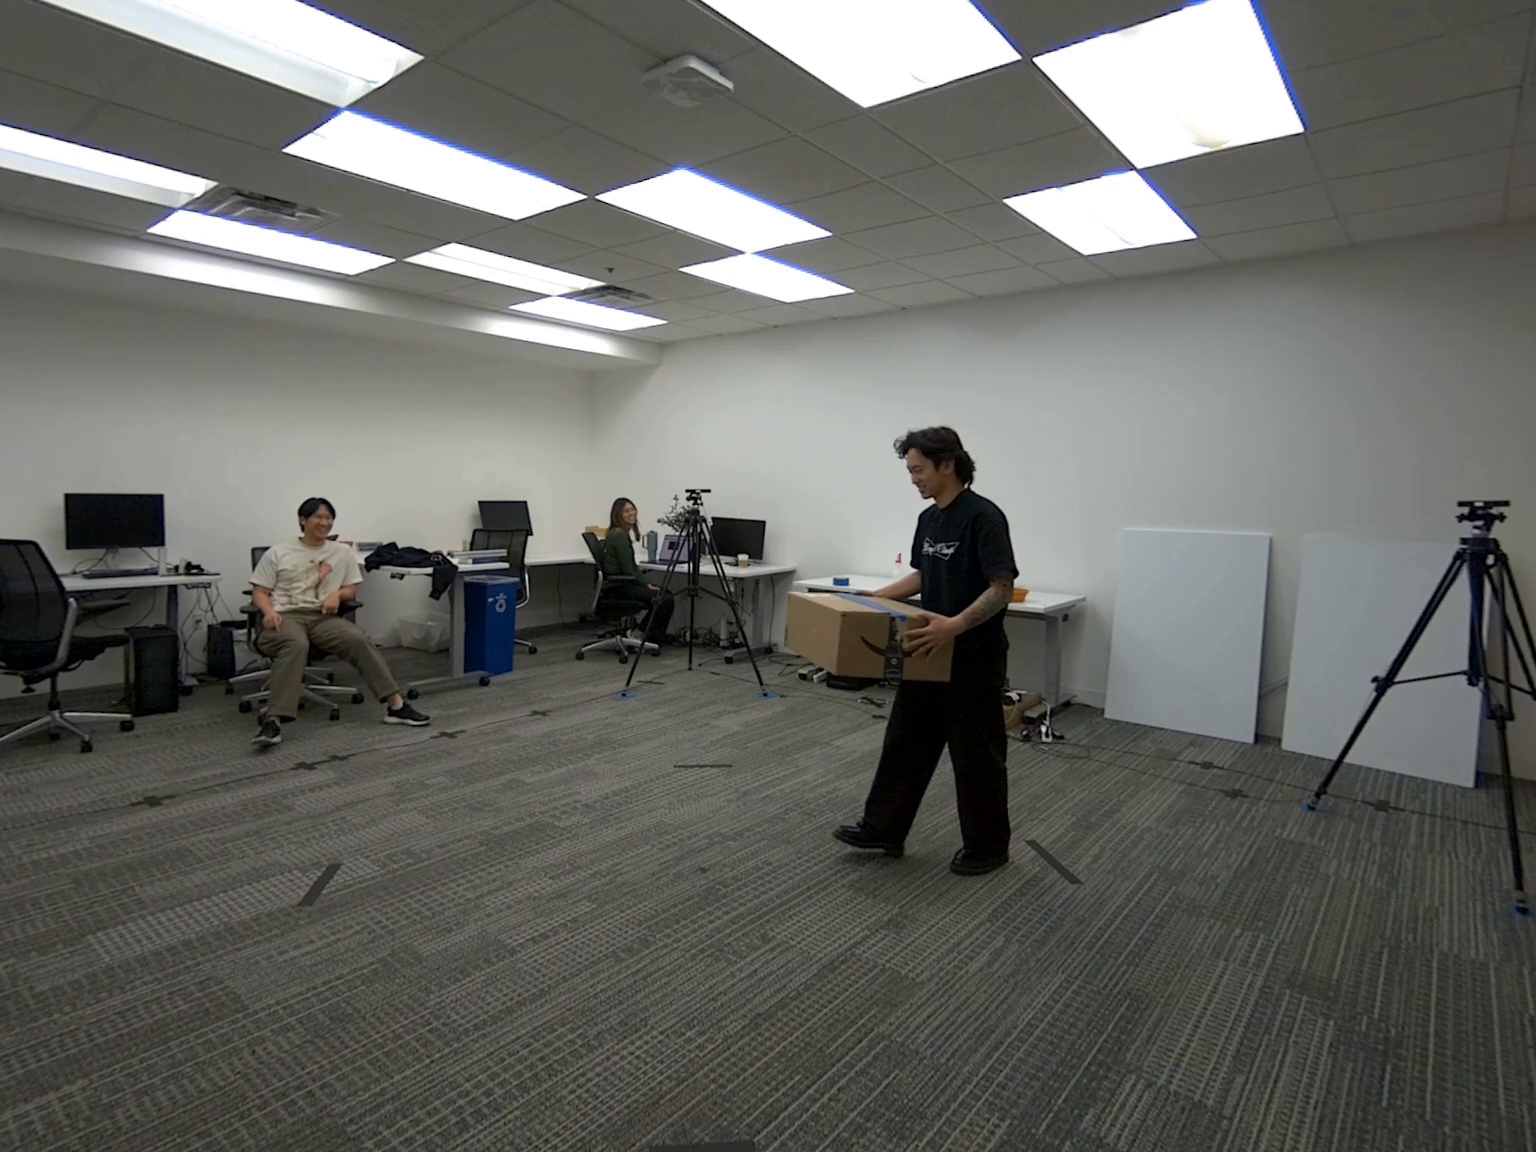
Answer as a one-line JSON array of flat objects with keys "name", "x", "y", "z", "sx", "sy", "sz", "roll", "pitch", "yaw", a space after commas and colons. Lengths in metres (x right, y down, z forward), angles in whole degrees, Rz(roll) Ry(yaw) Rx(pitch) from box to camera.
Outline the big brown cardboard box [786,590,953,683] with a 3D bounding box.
[{"name": "big brown cardboard box", "x": 0.336, "y": 0.203, "z": 3.105, "sx": 0.410, "sy": 0.232, "sz": 0.602, "roll": 4, "pitch": 5, "yaw": -17}]
